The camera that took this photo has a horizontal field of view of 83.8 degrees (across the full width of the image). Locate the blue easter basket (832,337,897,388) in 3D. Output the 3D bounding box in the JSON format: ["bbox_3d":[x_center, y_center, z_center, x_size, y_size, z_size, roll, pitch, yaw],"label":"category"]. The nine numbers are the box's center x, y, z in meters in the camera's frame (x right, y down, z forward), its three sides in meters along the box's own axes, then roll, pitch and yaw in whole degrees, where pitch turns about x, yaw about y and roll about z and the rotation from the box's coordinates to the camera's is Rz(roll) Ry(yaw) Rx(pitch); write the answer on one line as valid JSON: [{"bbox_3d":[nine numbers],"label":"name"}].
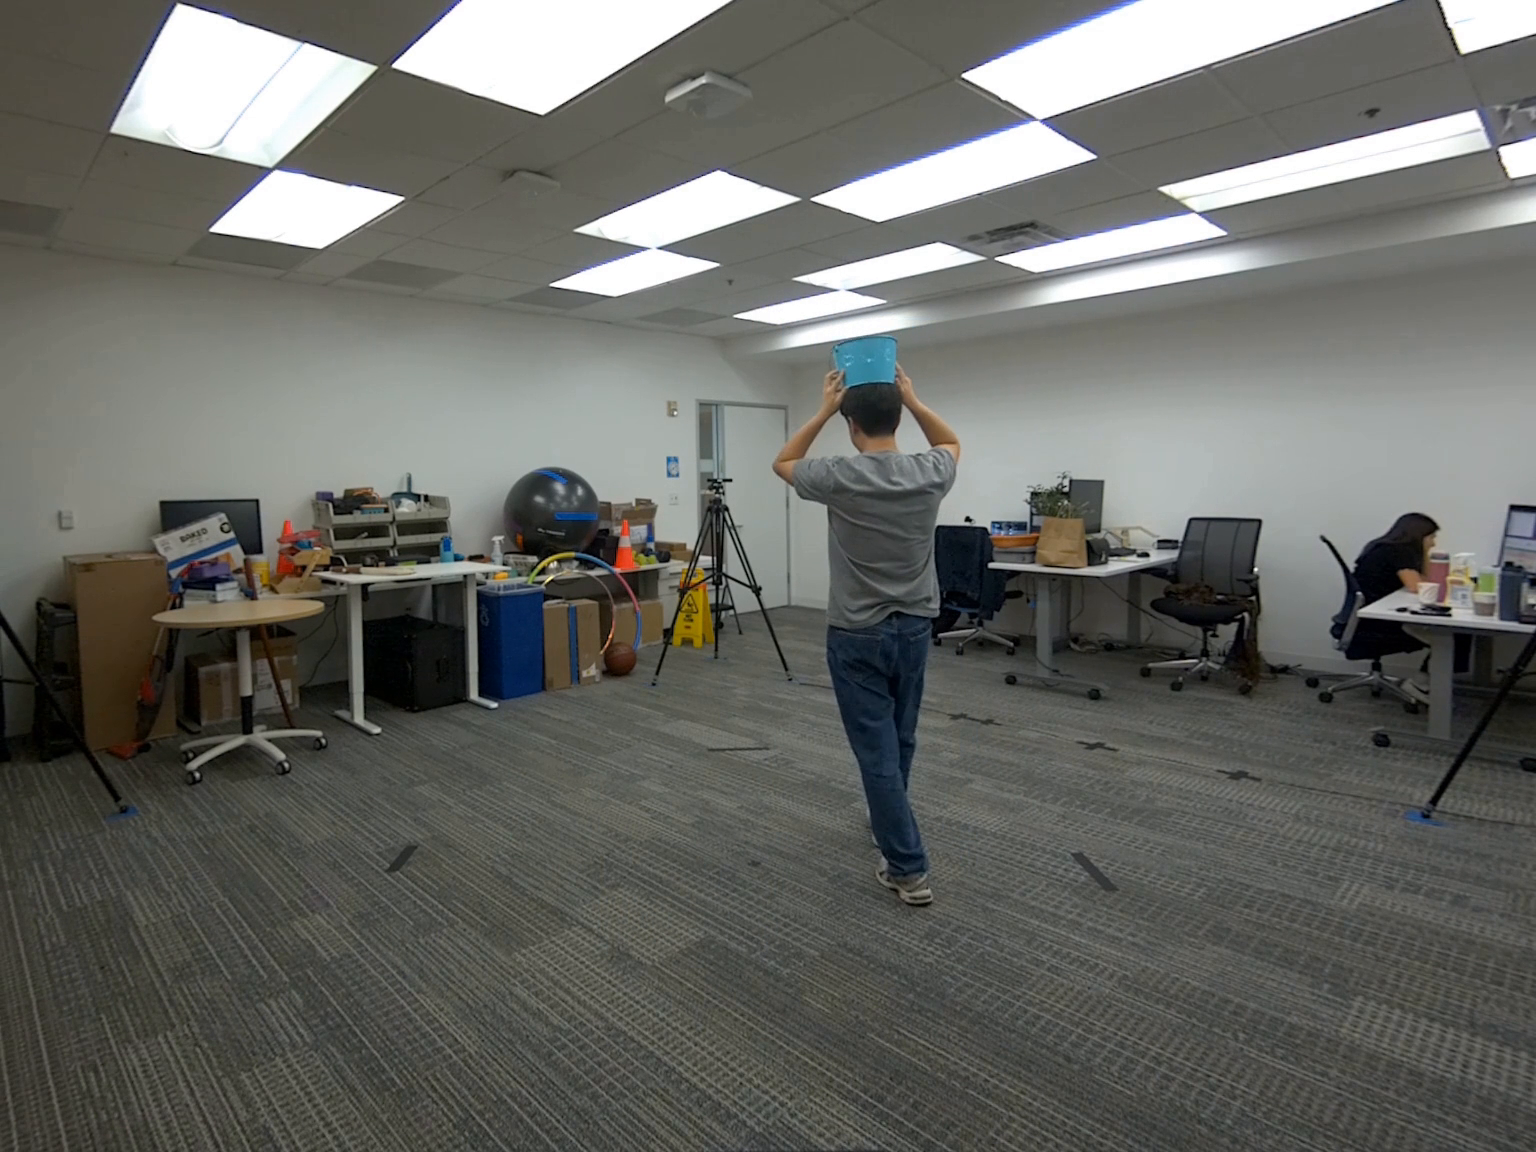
[{"bbox_3d":[0.360,-0.725,2.962,0.243,0.156,0.243,-5,-3,-2],"label":"blue easter basket"}]
